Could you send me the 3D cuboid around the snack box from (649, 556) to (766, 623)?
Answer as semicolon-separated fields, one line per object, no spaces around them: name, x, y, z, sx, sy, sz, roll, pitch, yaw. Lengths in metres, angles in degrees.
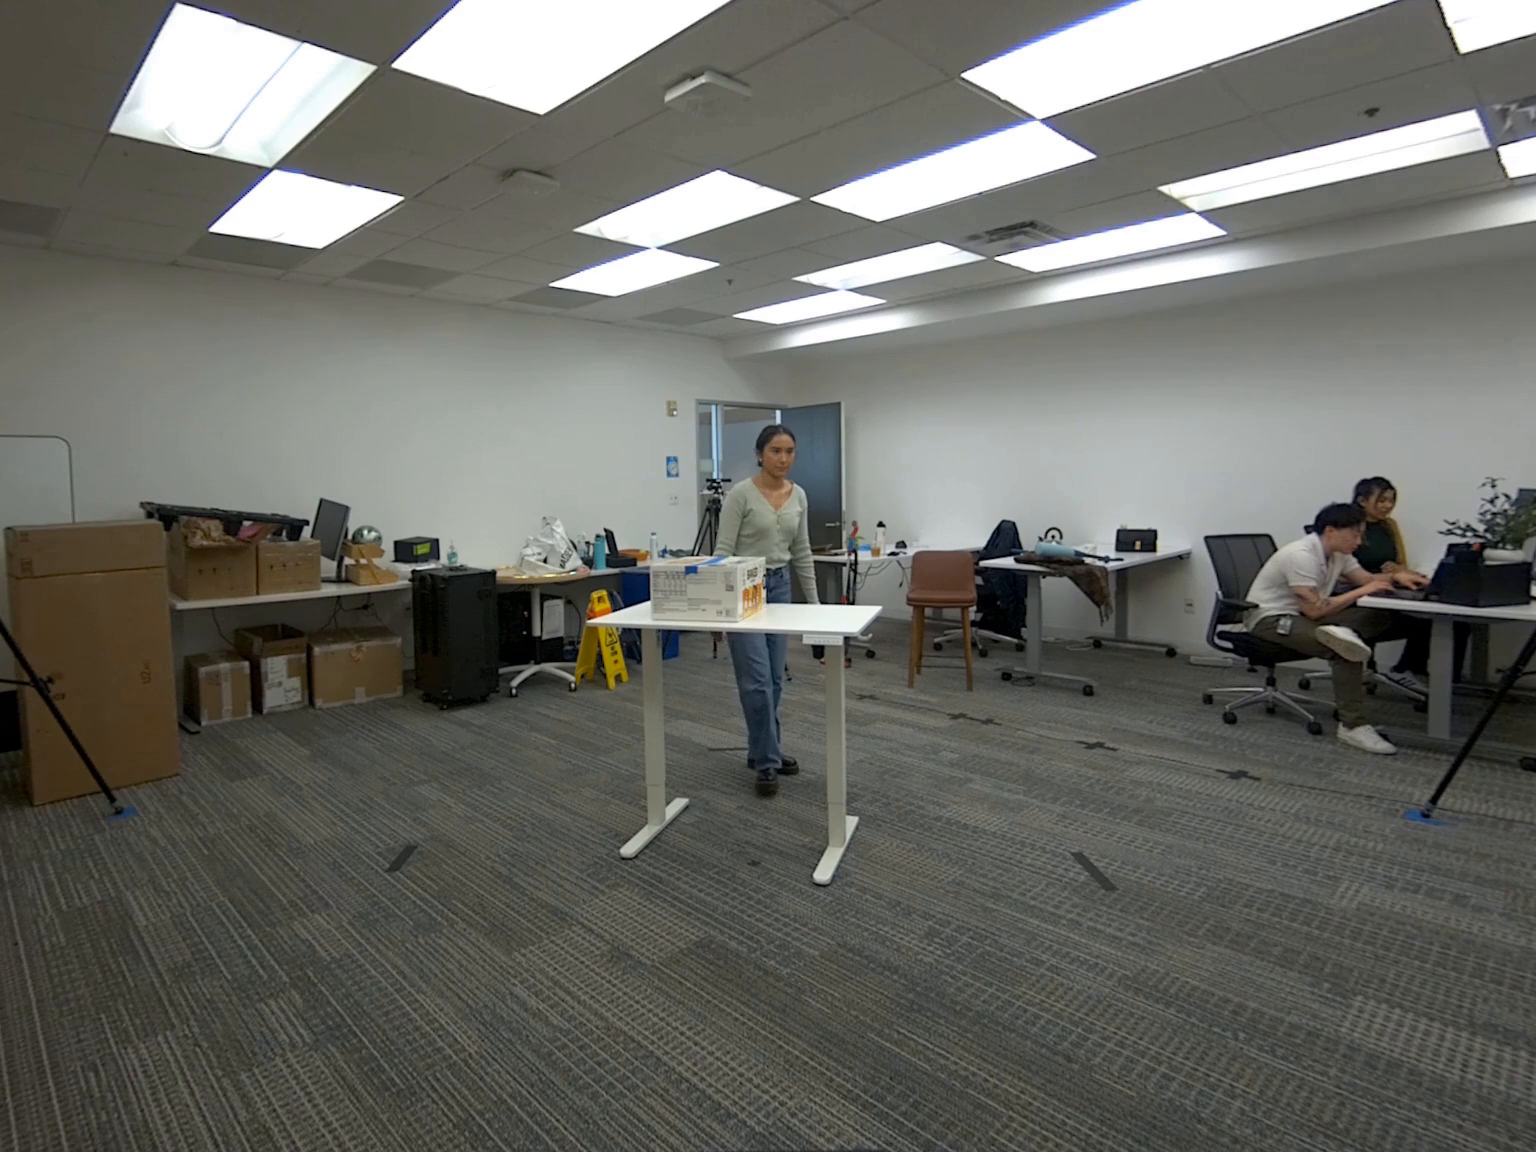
snack box;-0.222;0.046;3.287;0.346;0.205;0.400;0;5;16
